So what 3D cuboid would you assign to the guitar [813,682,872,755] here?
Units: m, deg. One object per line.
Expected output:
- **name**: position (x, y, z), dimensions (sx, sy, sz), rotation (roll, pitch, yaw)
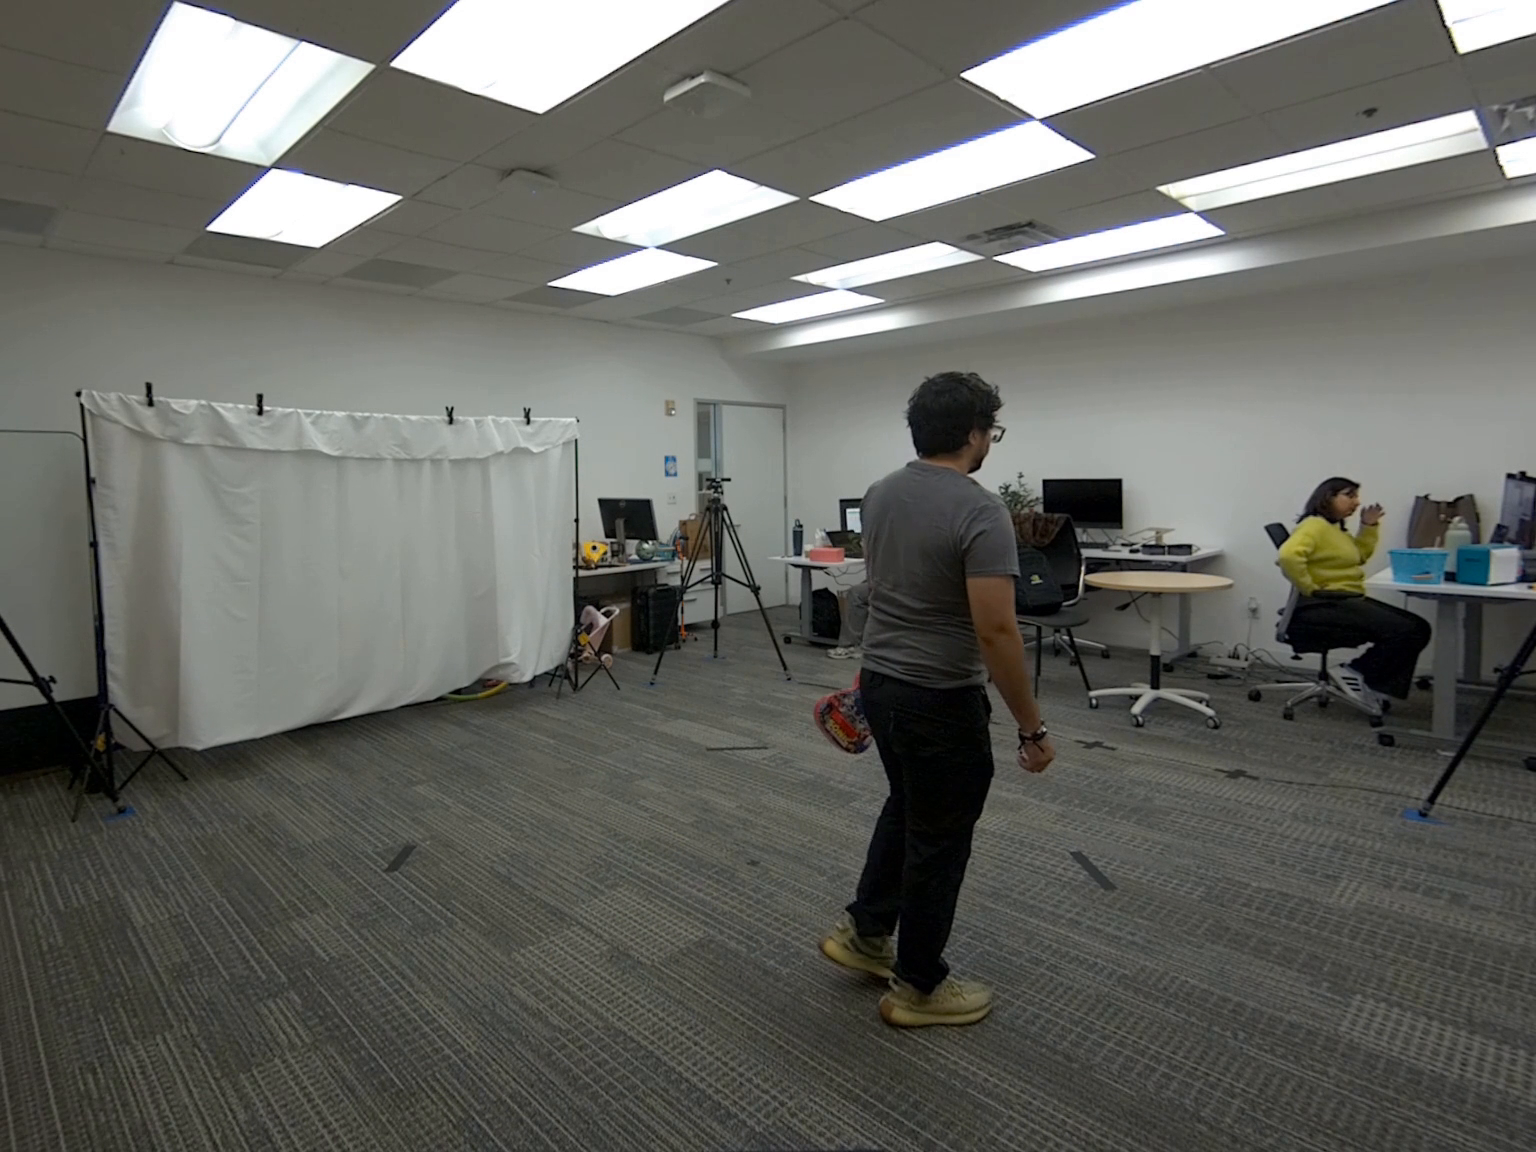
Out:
- **guitar**: position (0.380, 0.346, 2.596), dimensions (0.496, 0.193, 0.071), rotation (-35, -1, -9)
